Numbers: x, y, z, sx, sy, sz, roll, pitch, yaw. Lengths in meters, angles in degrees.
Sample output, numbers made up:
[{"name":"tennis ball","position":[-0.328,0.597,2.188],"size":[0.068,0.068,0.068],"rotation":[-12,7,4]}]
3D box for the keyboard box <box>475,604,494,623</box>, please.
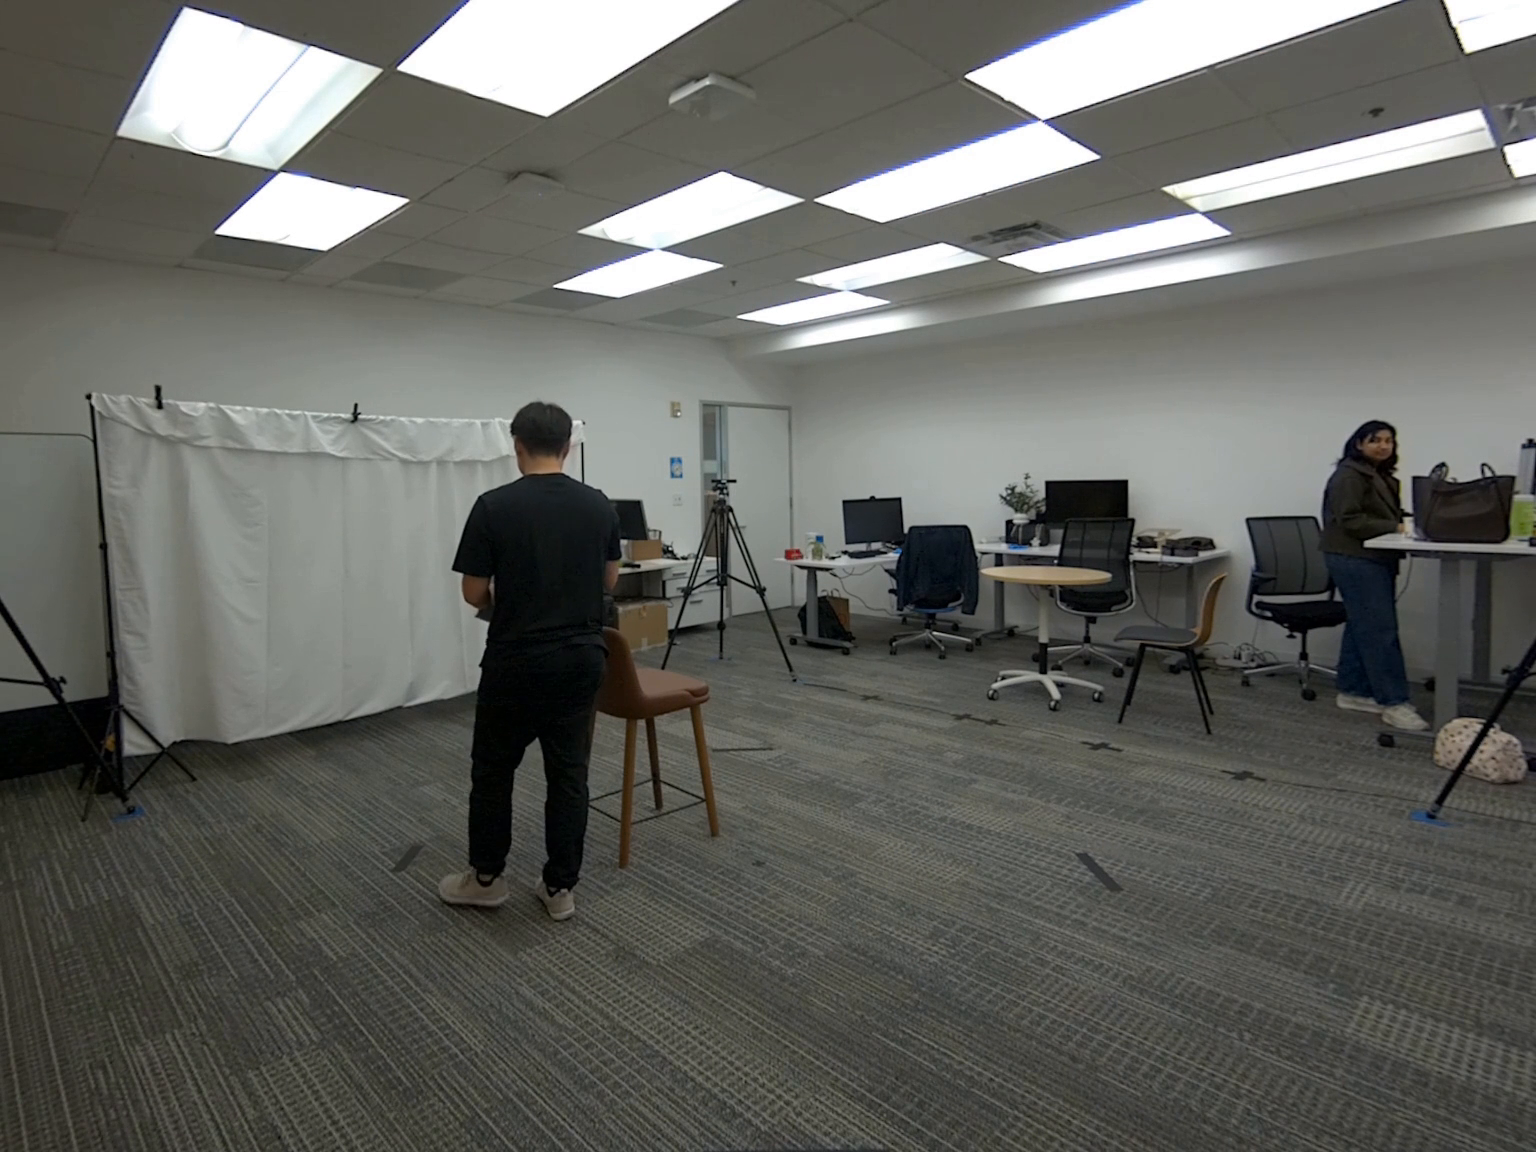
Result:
[{"name":"keyboard box","position":[-0.886,-0.028,3.048],"size":[0.172,0.442,0.060],"rotation":[22,-20,-20]}]
